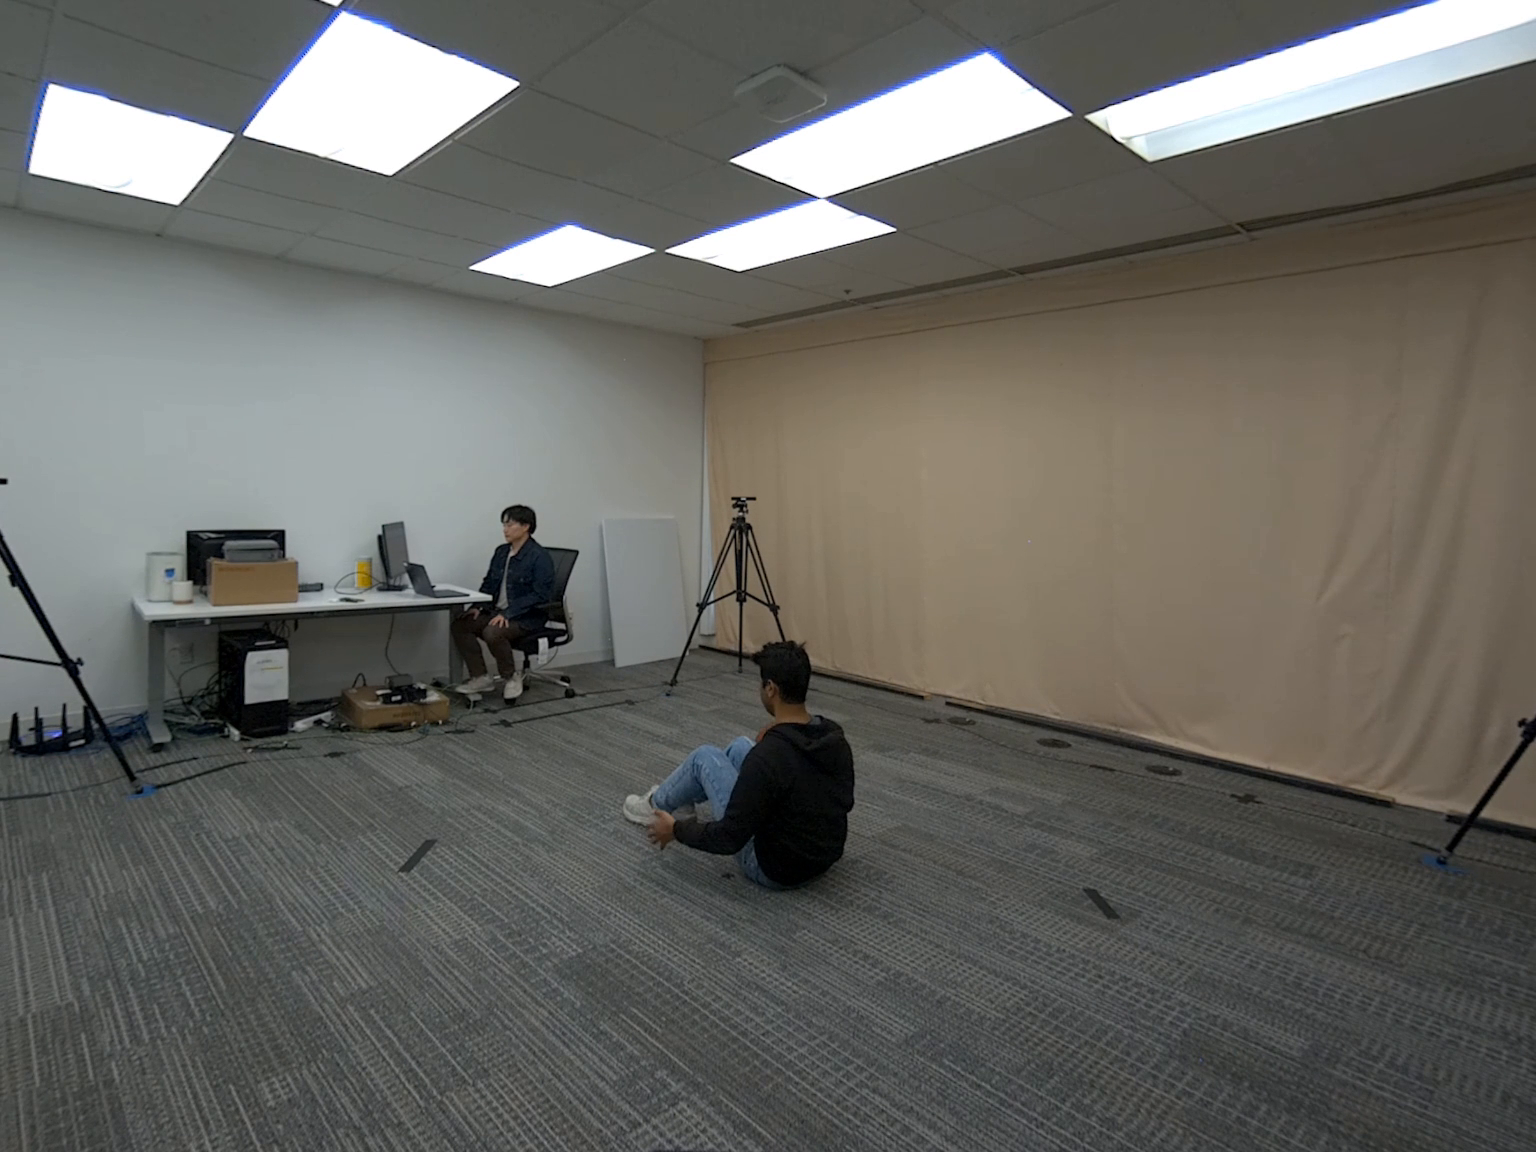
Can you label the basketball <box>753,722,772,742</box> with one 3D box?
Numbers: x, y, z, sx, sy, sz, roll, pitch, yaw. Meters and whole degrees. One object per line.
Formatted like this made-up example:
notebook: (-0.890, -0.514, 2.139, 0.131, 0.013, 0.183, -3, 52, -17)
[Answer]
basketball: (0.043, 0.744, 3.606, 0.236, 0.235, 0.237, 1, 4, -1)
